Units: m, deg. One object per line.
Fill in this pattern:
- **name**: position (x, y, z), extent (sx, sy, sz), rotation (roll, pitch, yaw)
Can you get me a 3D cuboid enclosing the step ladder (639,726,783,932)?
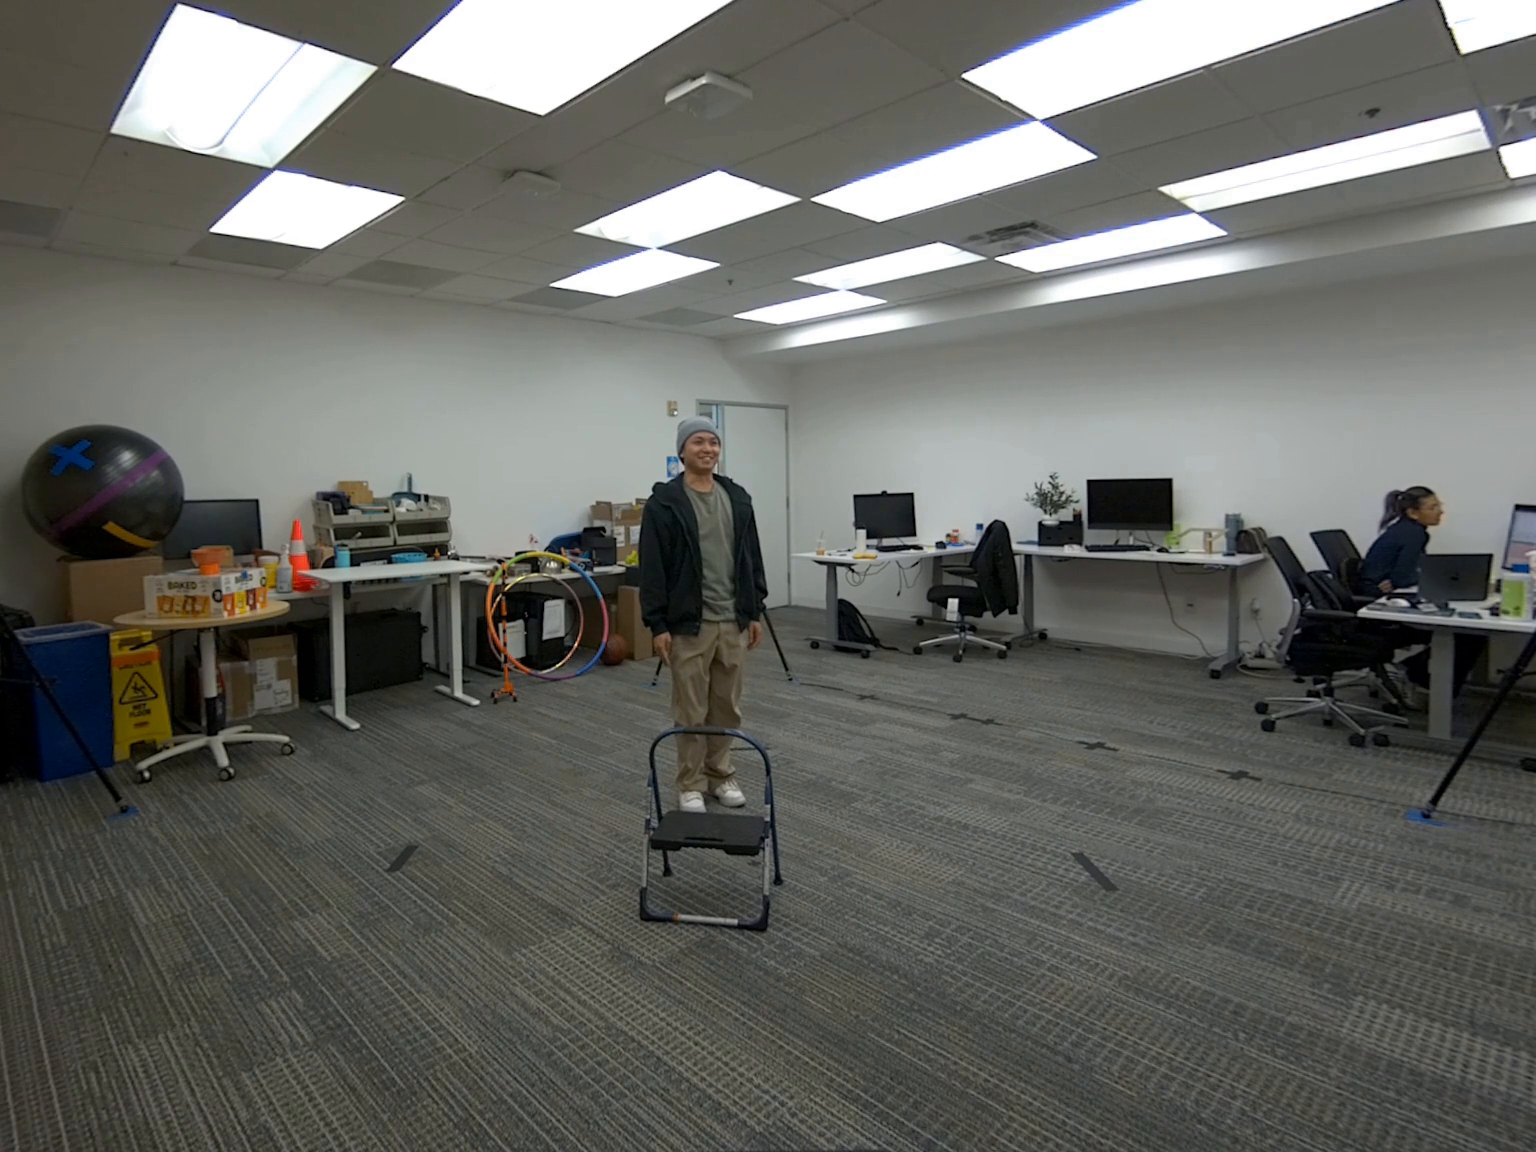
- **step ladder**: position (-0.190, 0.781, 2.822), extent (0.435, 0.604, 0.347), rotation (0, 4, 10)
